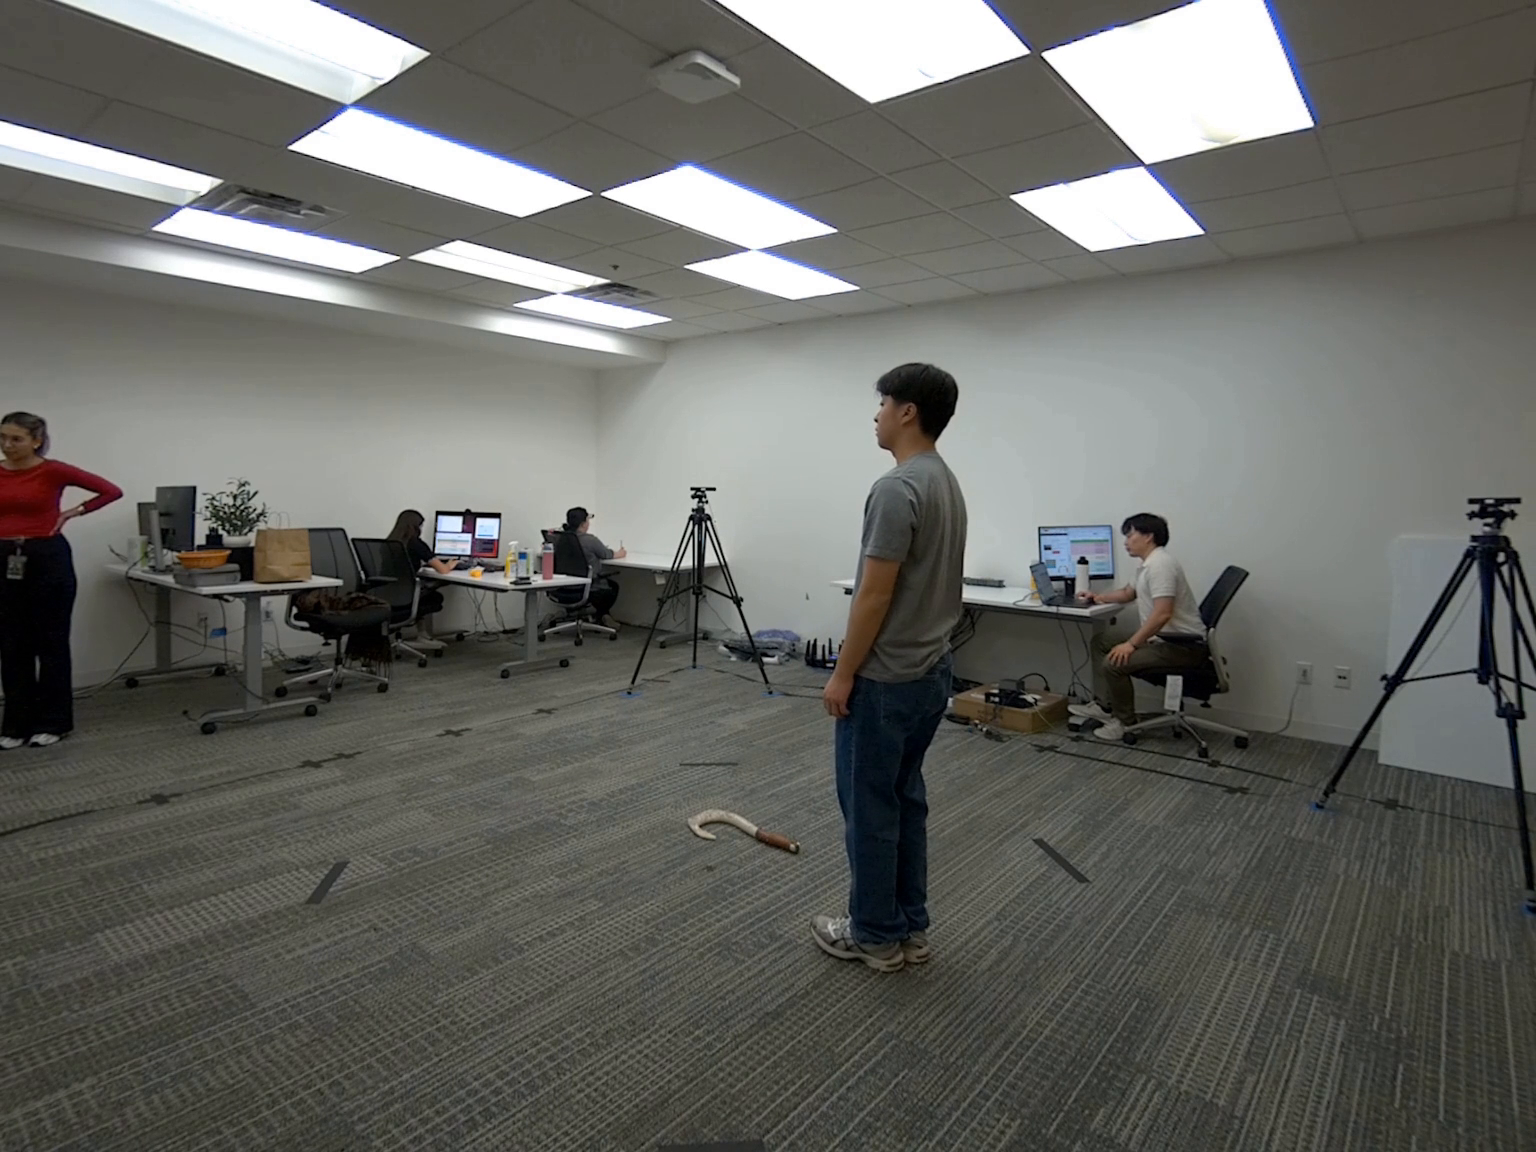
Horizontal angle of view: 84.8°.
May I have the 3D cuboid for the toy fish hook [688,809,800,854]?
[{"bbox_3d":[-0.118,1.026,3.379,0.524,0.048,0.219,5,15,41],"label":"toy fish hook"}]
